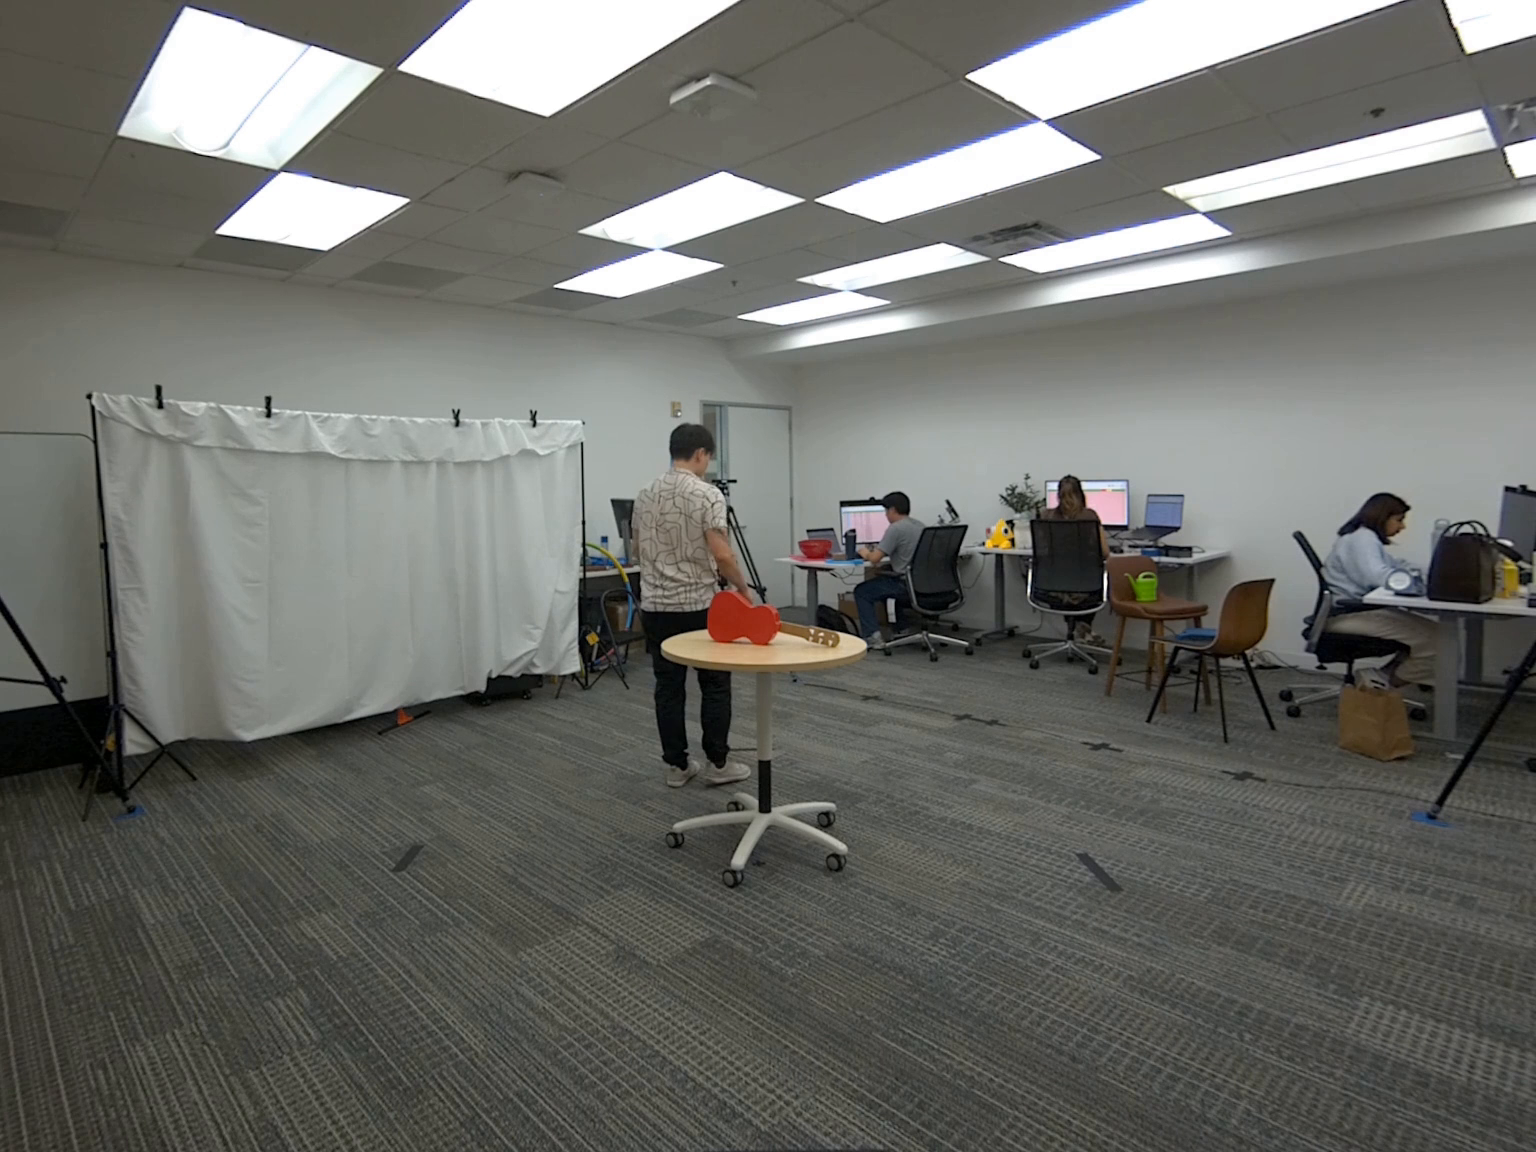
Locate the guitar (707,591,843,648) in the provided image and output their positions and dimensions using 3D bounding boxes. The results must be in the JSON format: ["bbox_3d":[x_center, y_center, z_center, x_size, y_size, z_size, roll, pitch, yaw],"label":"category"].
[{"bbox_3d":[0.022,0.162,3.167,0.507,0.192,0.069,2,3,19],"label":"guitar"}]
